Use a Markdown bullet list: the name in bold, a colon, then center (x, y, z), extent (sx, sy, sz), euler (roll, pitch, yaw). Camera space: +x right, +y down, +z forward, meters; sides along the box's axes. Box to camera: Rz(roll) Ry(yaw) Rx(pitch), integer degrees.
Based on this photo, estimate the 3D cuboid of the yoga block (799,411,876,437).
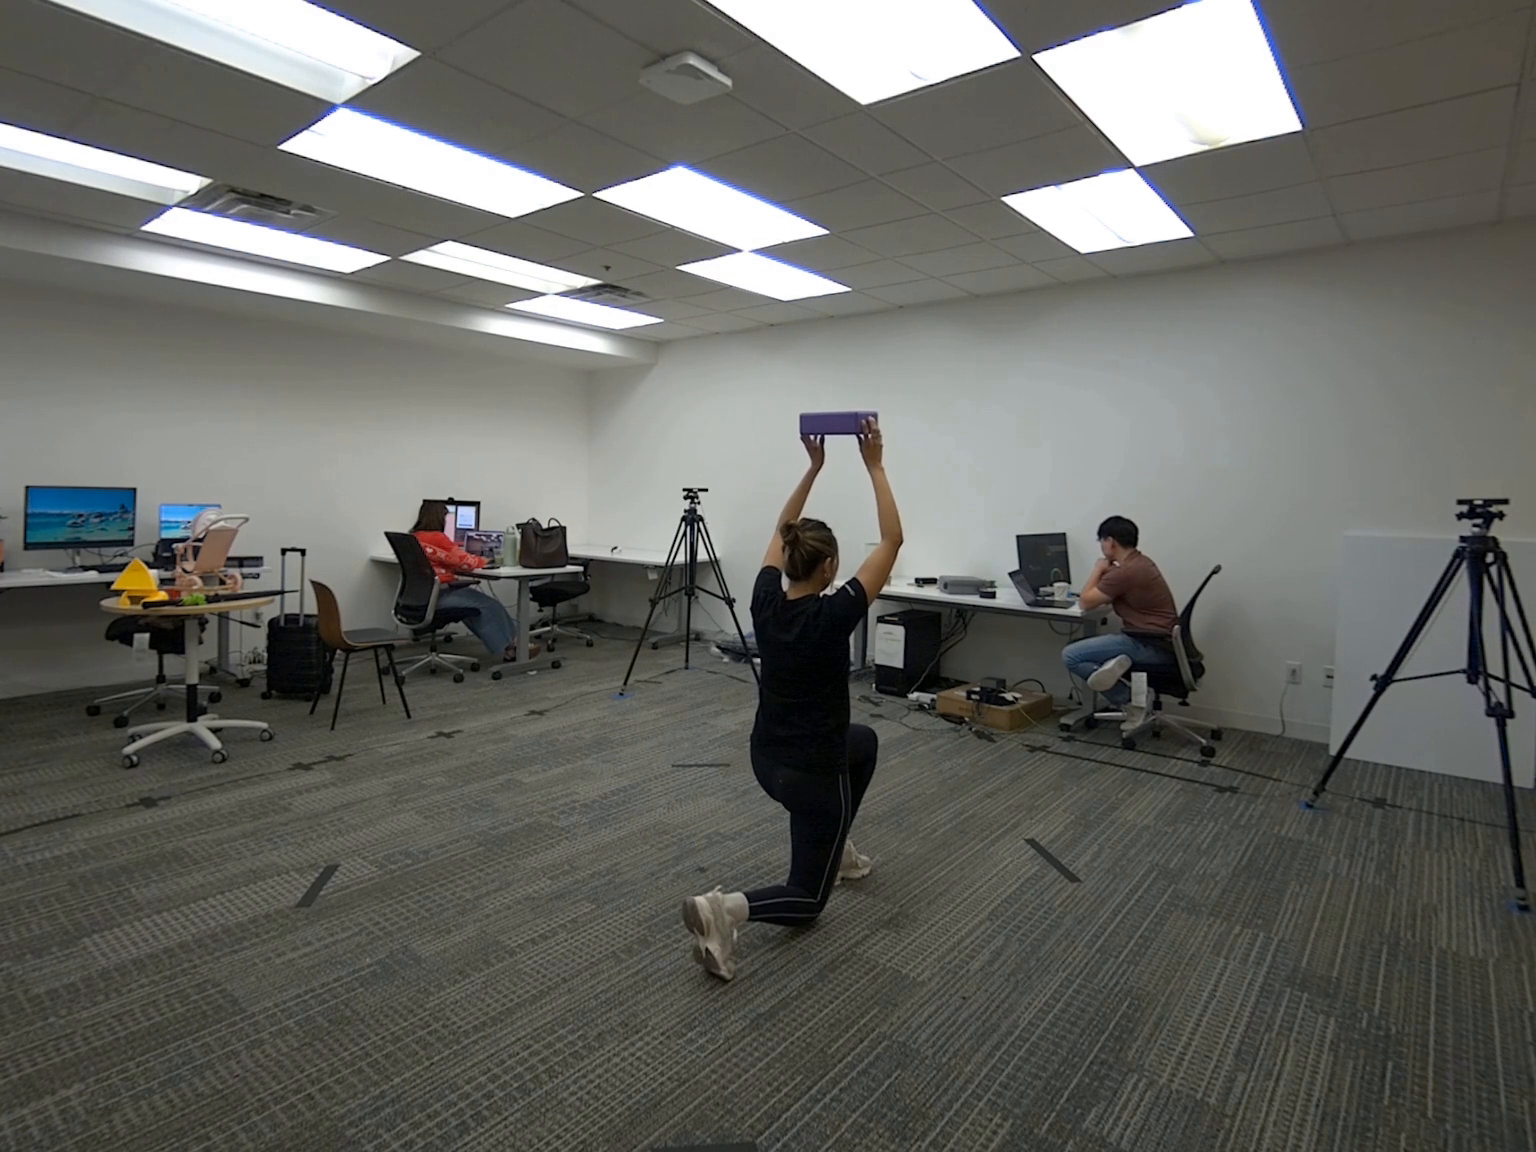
- **yoga block**: center (0.230, -0.533, 2.879), extent (0.237, 0.076, 0.145), euler (6, 11, 35)
